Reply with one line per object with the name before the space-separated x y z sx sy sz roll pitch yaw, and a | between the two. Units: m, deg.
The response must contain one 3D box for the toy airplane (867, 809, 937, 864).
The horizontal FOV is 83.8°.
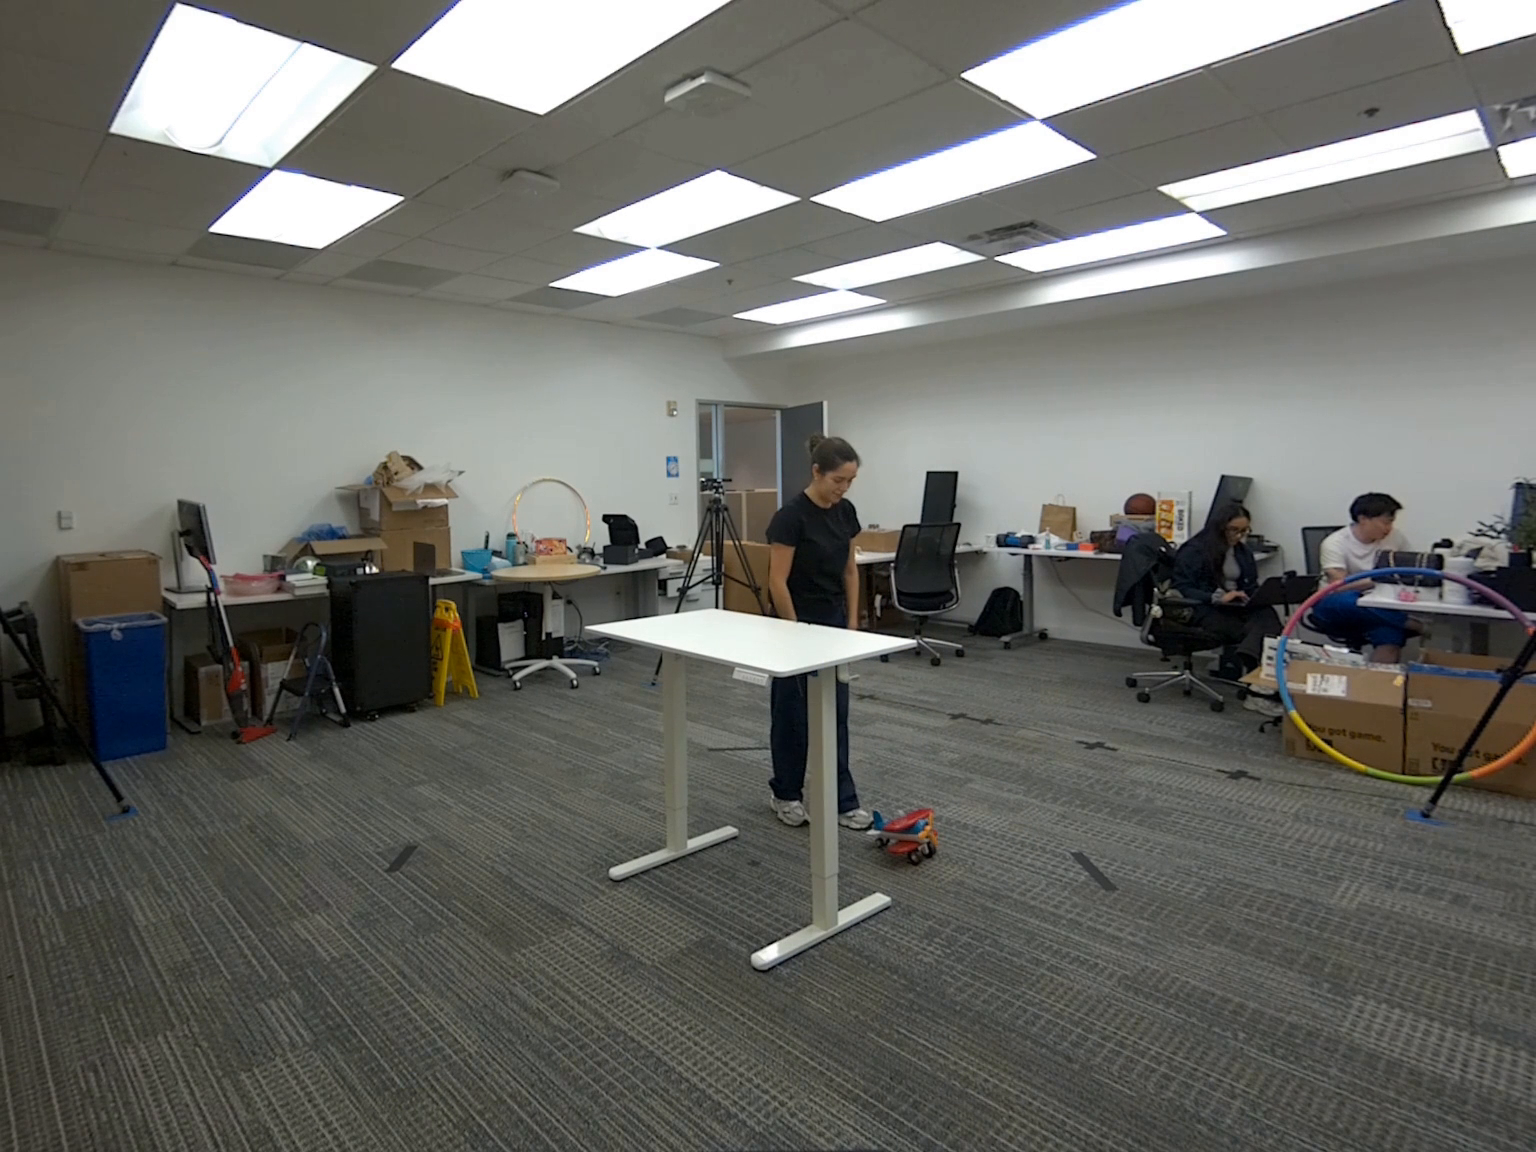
toy airplane | 0.488 0.953 3.163 0.264 0.155 0.248 2 7 18
